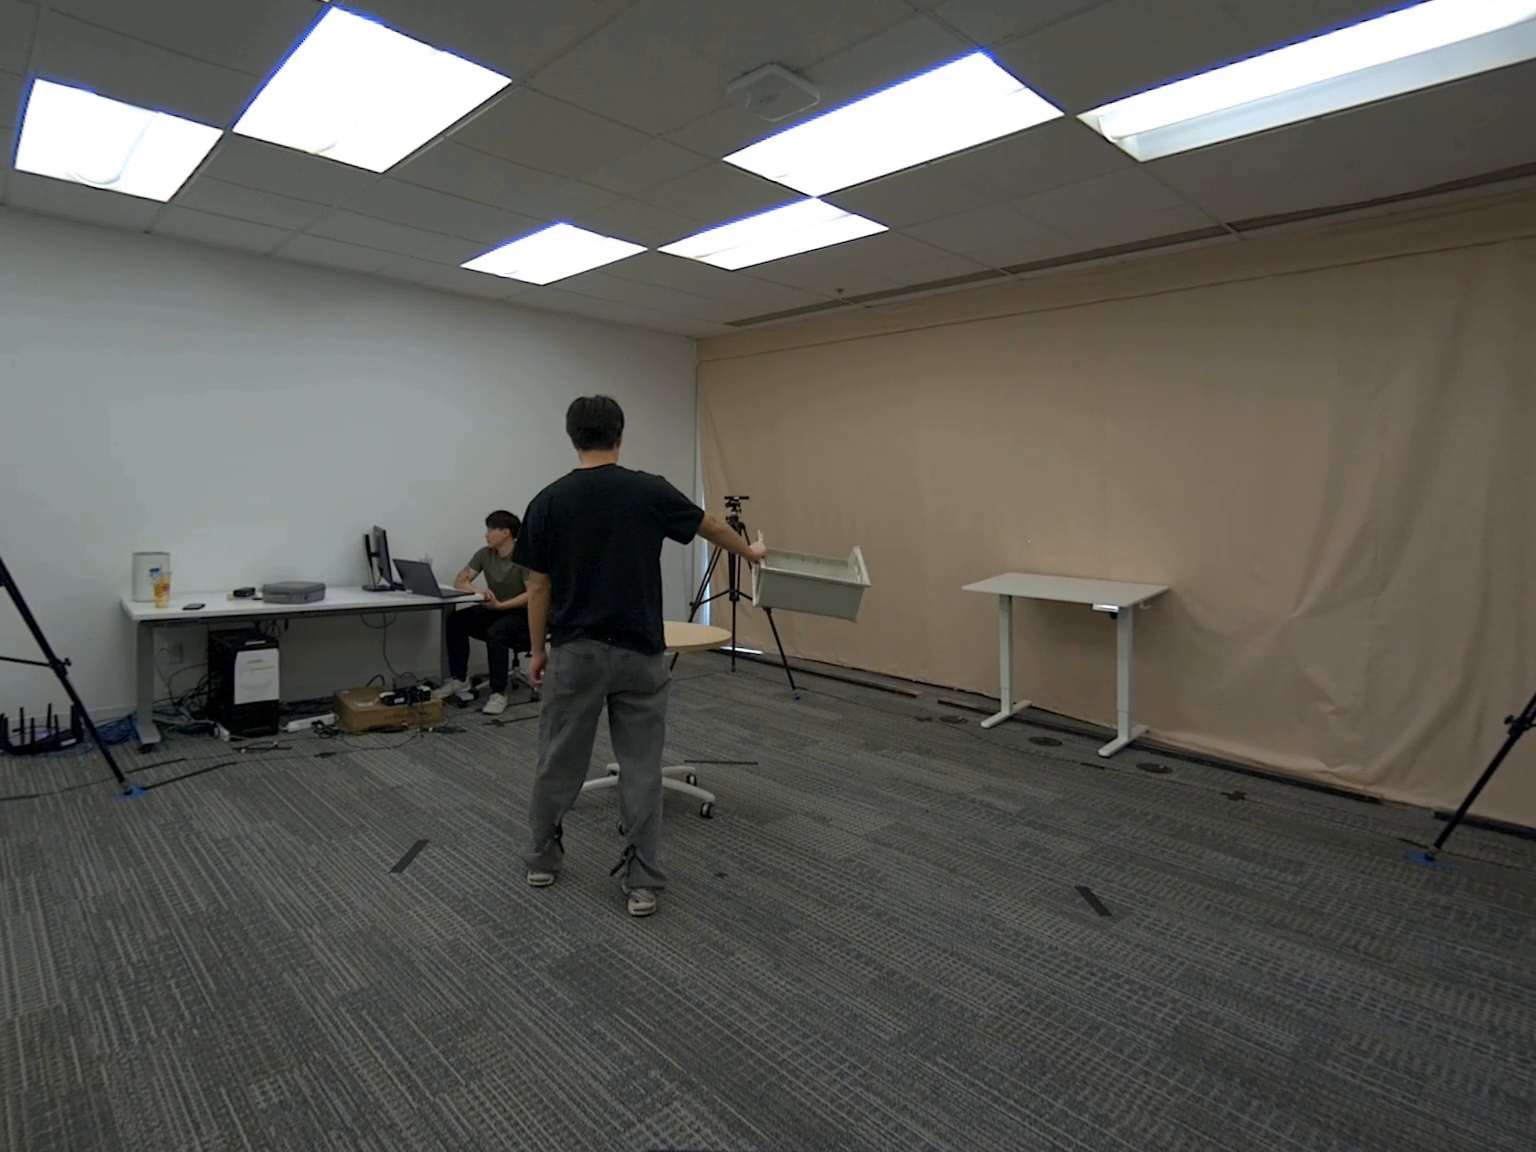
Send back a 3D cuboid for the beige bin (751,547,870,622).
[{"bbox_3d":[0.142,-0.004,3.366,0.420,0.186,0.384,9,27,-6],"label":"beige bin"}]
